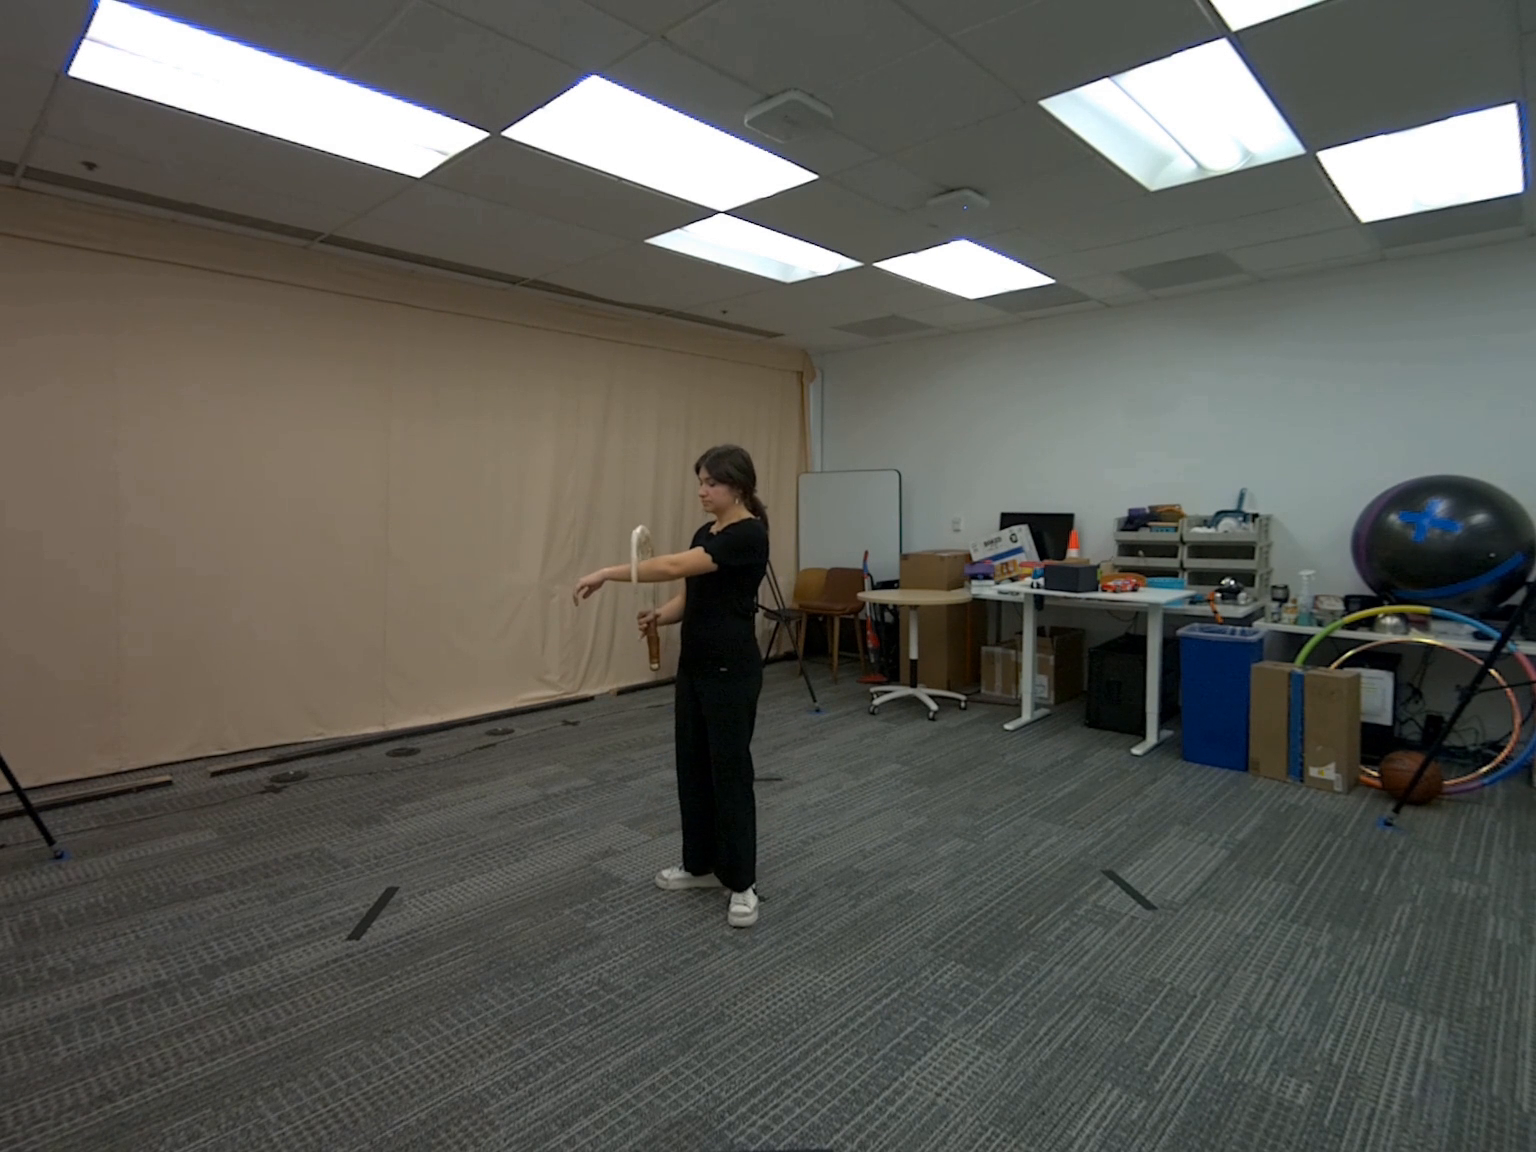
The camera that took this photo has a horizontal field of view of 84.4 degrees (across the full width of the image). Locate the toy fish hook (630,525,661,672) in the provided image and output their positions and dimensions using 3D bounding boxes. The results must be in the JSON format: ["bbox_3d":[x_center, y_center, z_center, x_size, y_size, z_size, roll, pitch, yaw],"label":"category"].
[{"bbox_3d":[-0.402,0.090,2.756,0.049,0.502,0.224,-3,13,9],"label":"toy fish hook"}]
